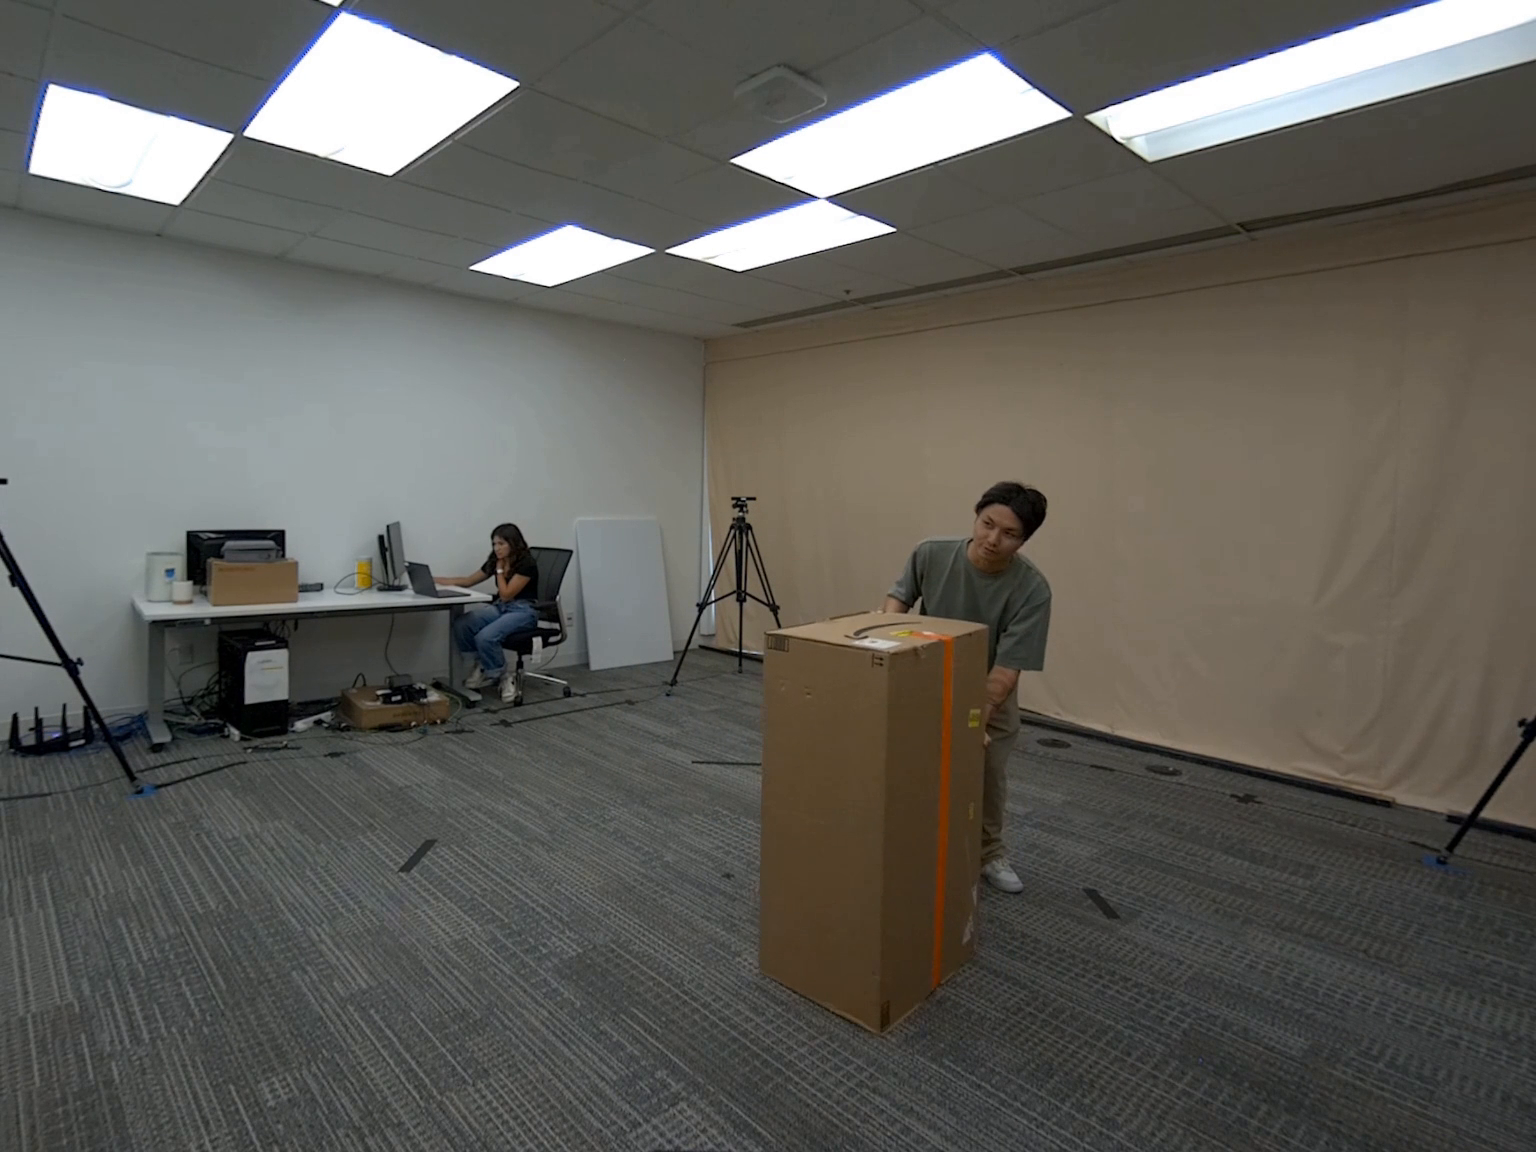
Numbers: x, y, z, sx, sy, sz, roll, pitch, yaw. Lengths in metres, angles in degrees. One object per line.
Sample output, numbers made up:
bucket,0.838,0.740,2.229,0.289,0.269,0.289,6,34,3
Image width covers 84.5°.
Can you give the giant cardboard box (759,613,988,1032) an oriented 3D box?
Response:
giant cardboard box,0.316,0.668,2.510,0.437,1.023,0.565,5,5,40
